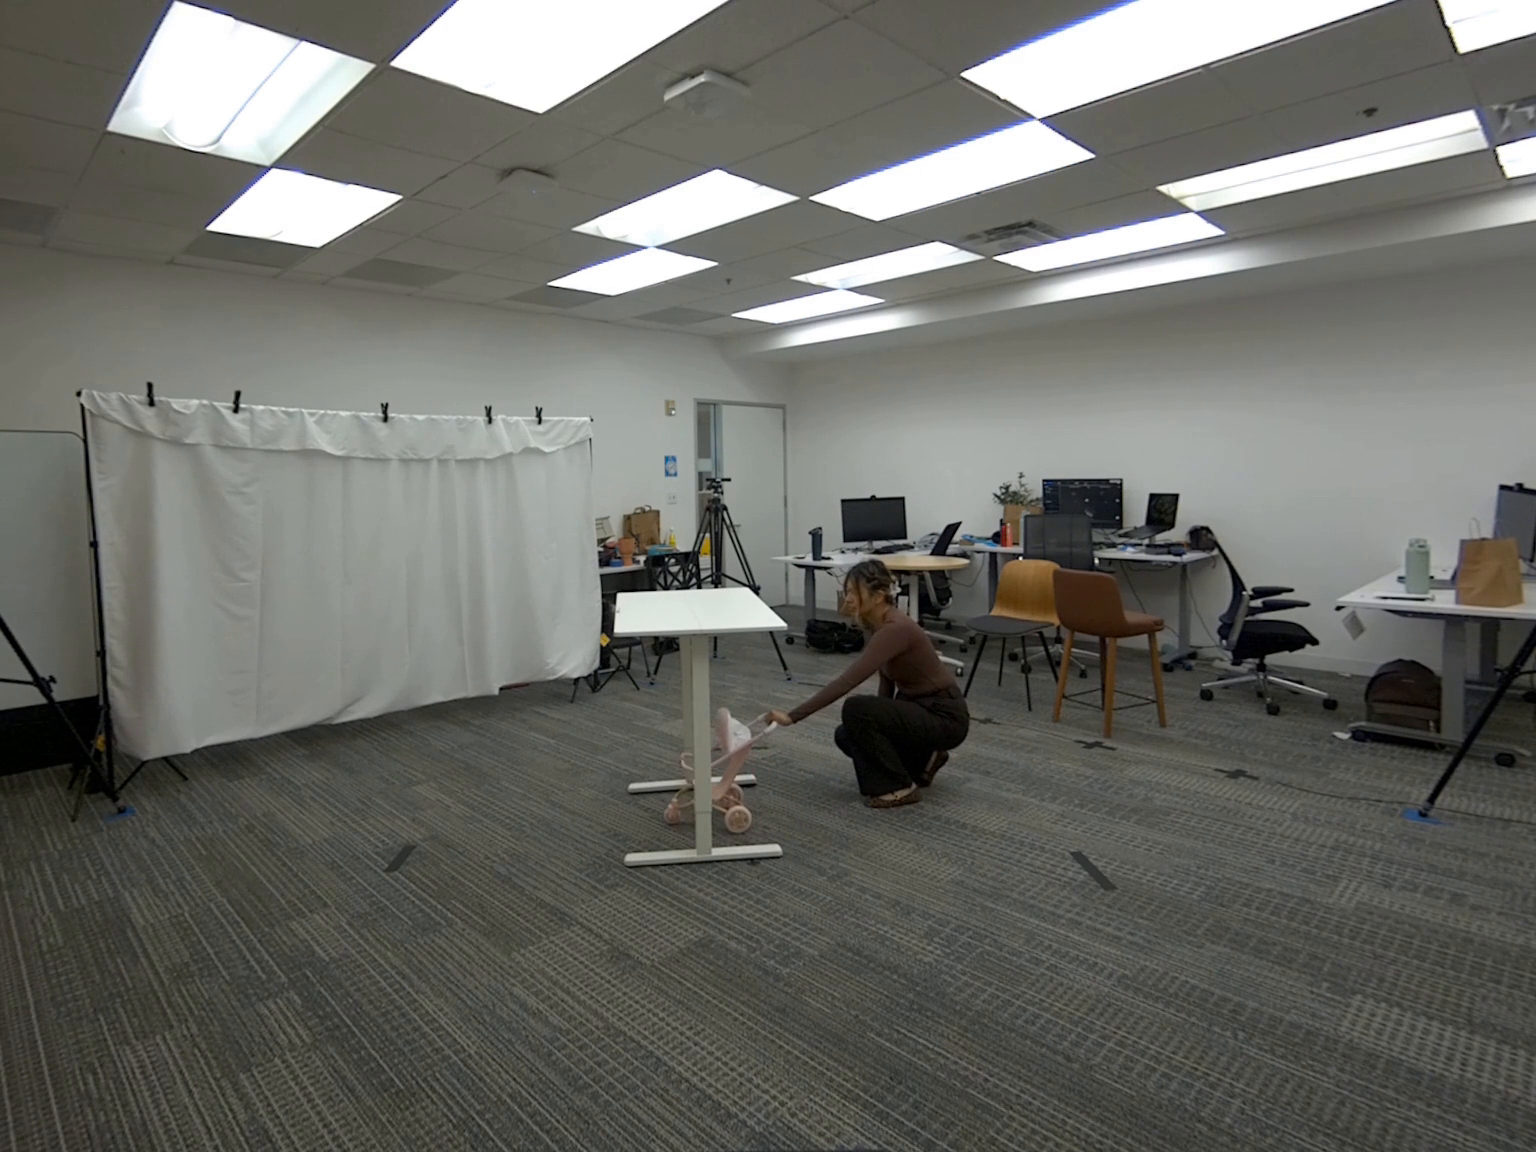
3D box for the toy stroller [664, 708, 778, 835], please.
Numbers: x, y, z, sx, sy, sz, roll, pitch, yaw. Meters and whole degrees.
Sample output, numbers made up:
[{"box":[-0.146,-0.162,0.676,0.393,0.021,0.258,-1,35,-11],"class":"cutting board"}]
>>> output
[{"box":[-0.199,0.773,3.476,0.340,0.534,0.283,16,3,-4],"class":"toy stroller"}]
